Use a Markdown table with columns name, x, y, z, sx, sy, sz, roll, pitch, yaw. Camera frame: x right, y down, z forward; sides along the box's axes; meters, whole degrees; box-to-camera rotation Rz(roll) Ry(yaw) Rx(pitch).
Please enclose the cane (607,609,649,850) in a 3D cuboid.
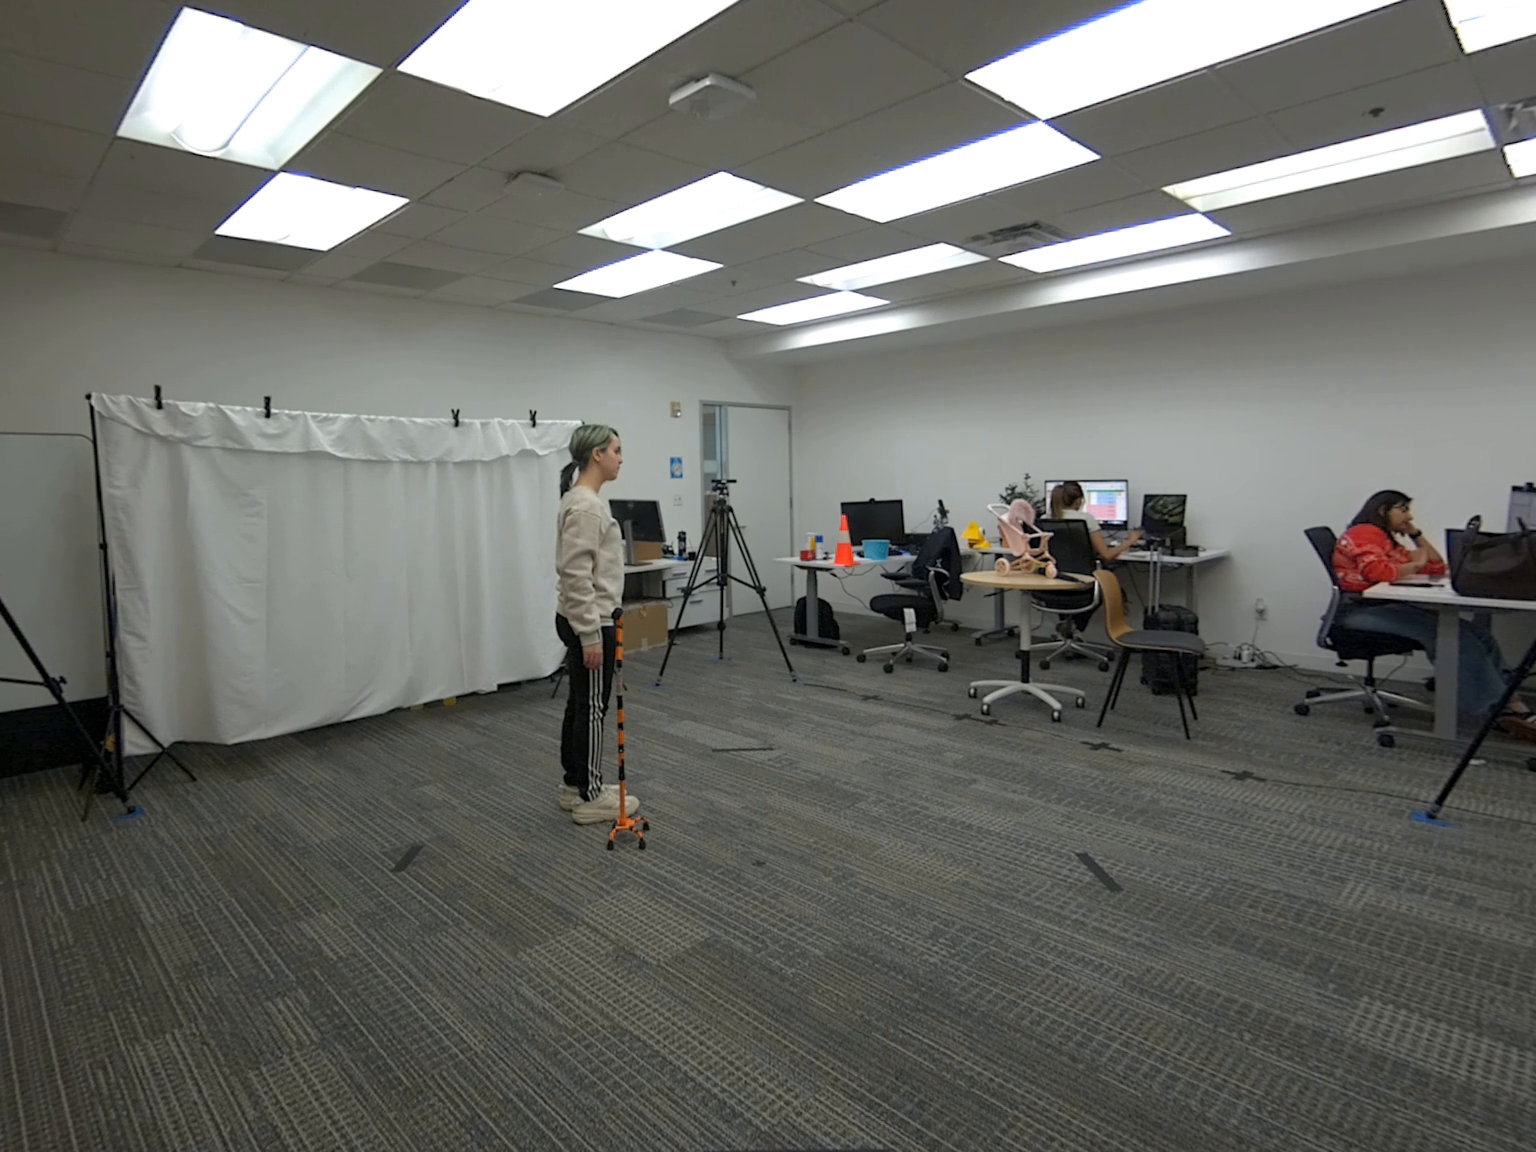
| name | x | y | z | sx | sy | sz | roll | pitch | yaw |
| --- | --- | --- | --- | --- | --- | --- | --- | --- | --- |
| cane | -0.554 | 0.583 | 3.321 | 0.151 | 0.905 | 0.207 | -2 | 3 | -3 |
